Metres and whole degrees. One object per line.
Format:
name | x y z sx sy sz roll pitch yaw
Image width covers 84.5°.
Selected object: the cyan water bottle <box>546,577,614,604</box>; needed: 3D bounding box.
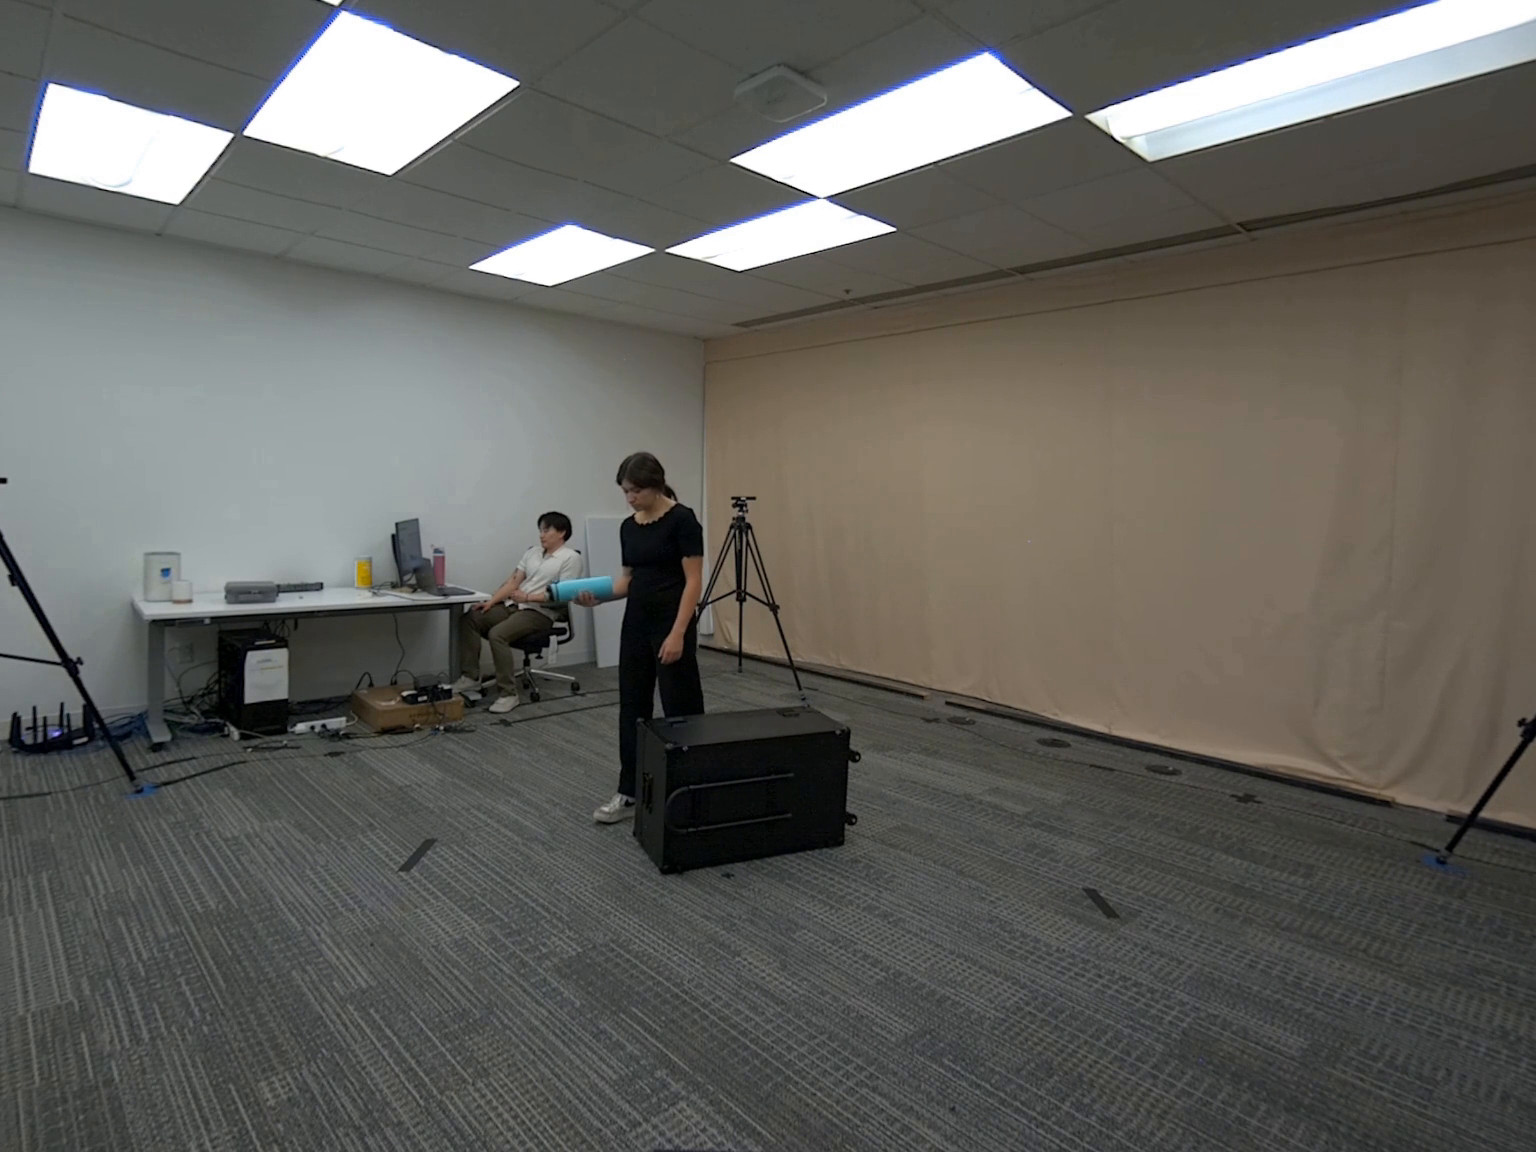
cyan water bottle | -0.819 0.060 3.577 0.279 0.092 0.094 -5 6 -19
